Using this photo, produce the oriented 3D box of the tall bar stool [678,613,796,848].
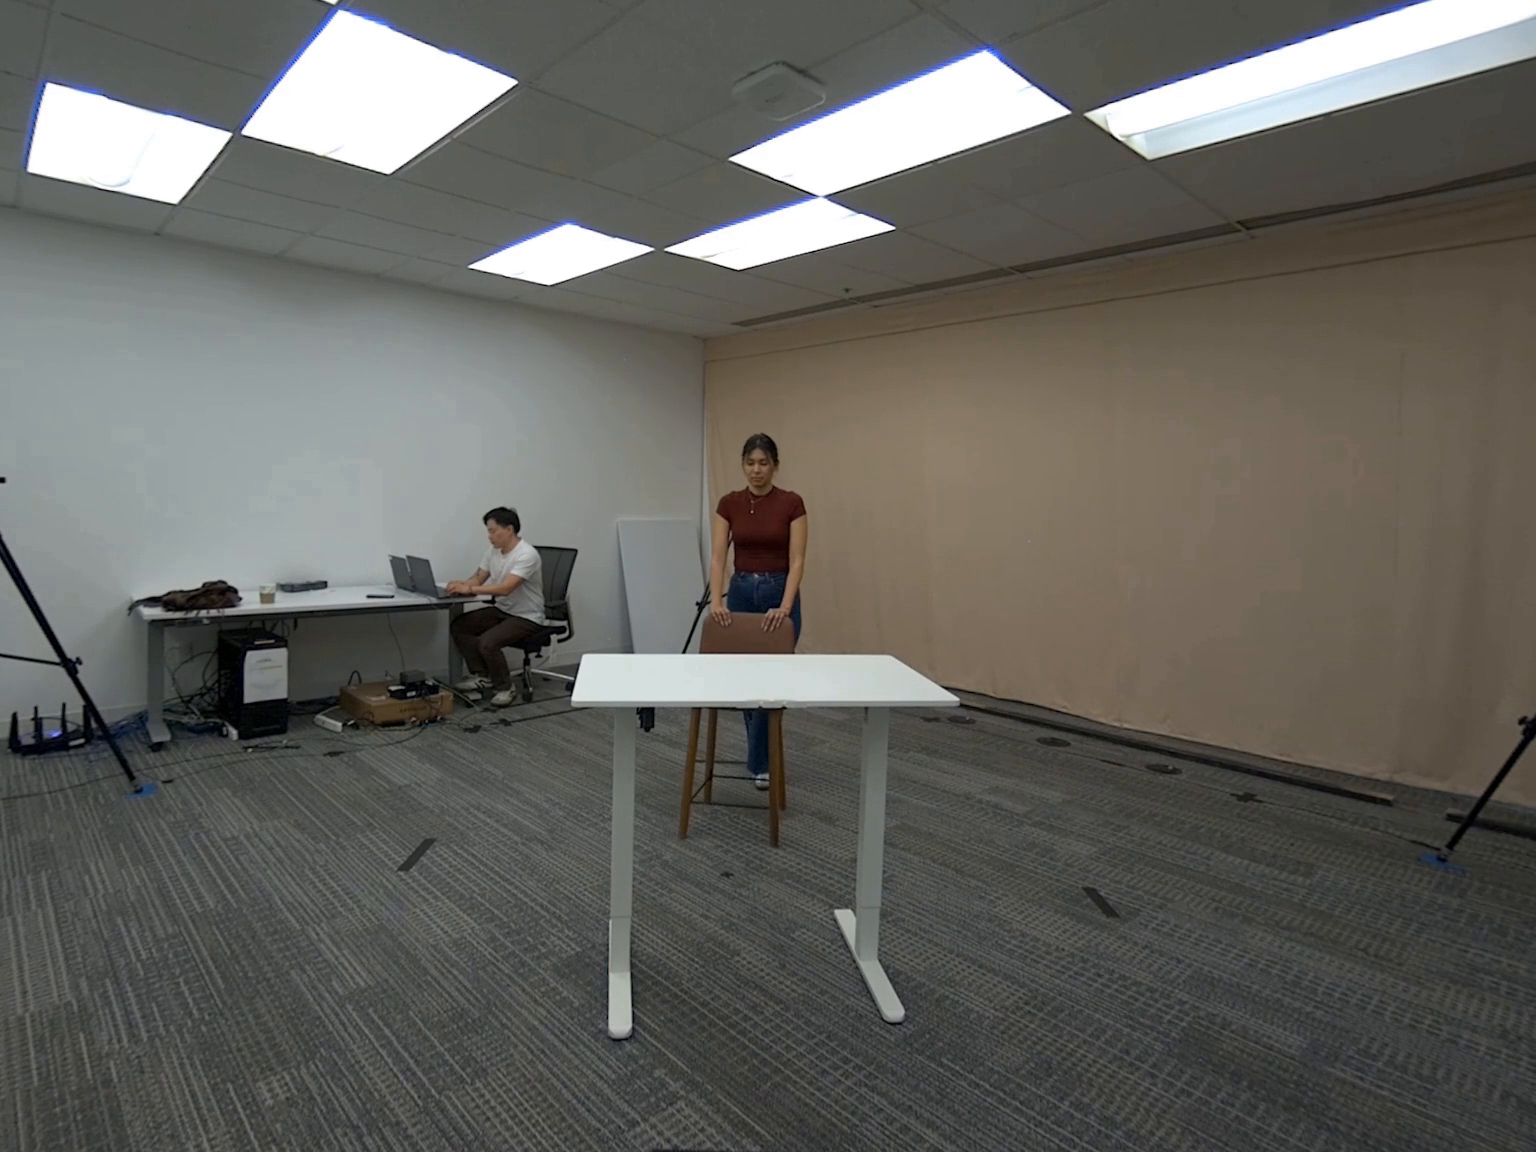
[{"bbox_3d":[-0.130,0.621,3.593,0.460,0.889,0.464,2,1,9],"label":"tall bar stool"}]
